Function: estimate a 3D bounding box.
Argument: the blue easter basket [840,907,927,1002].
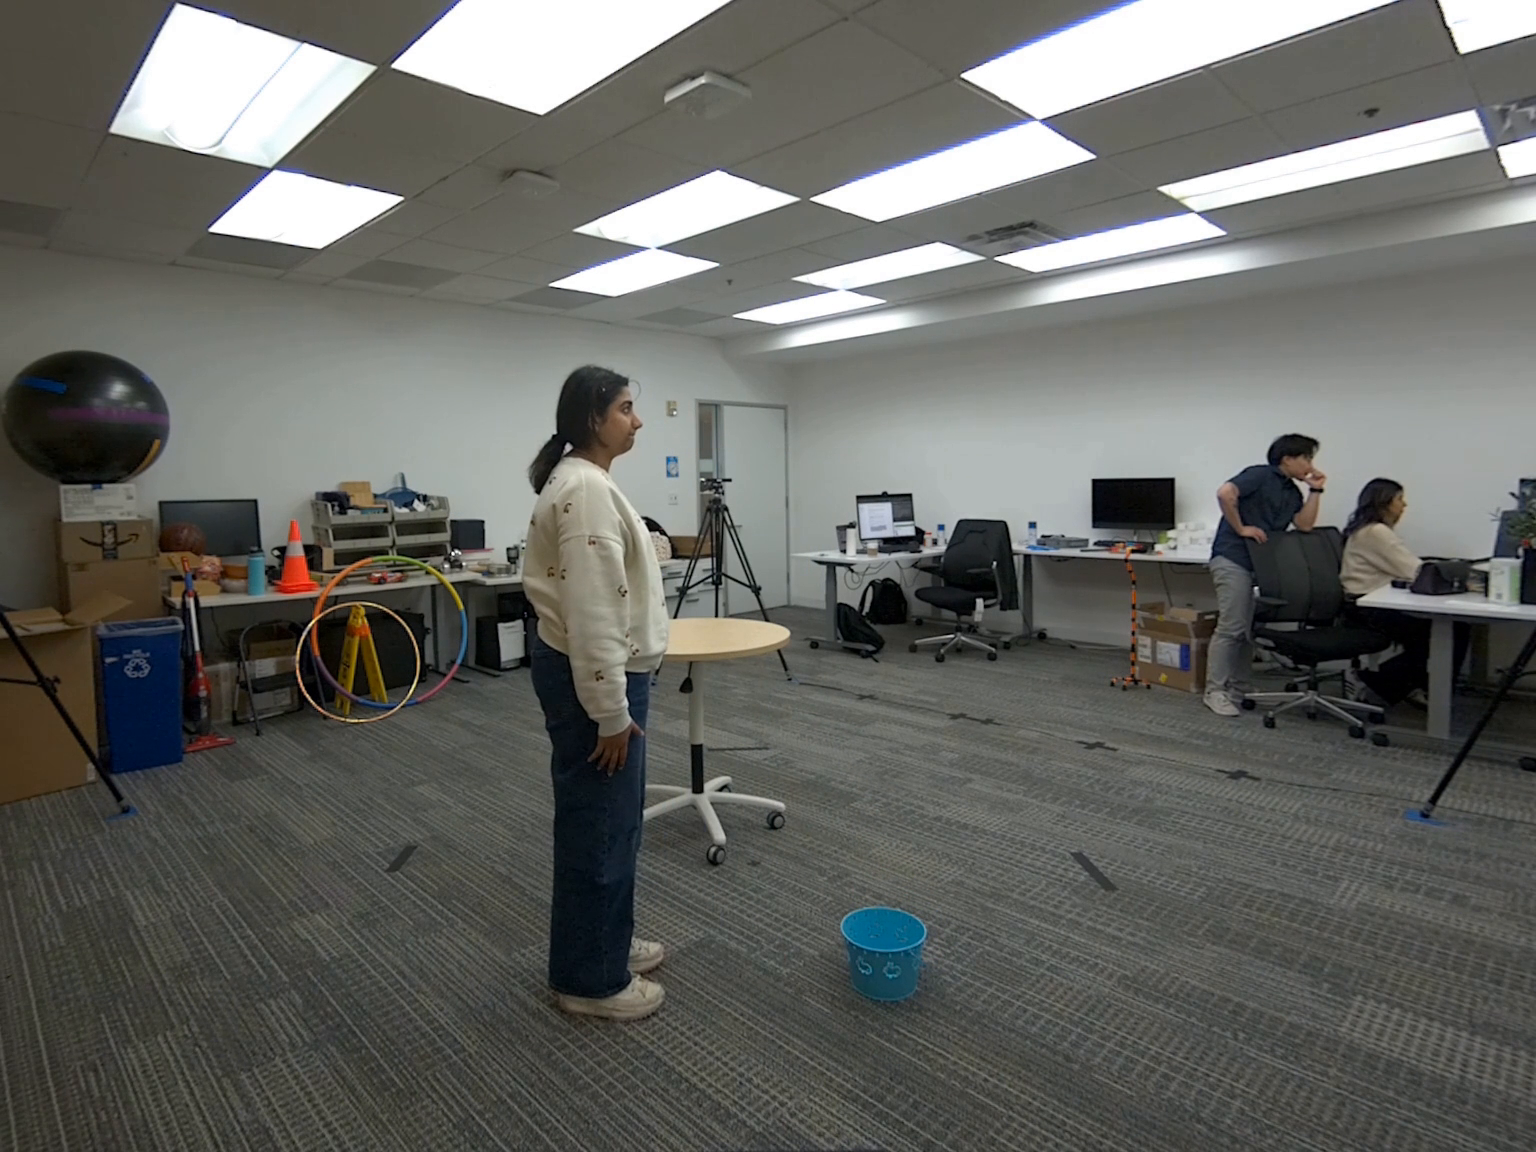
[{"bbox_3d":[0.329,1.048,2.360,0.243,0.155,0.245,-1,4,-2],"label":"blue easter basket"}]
